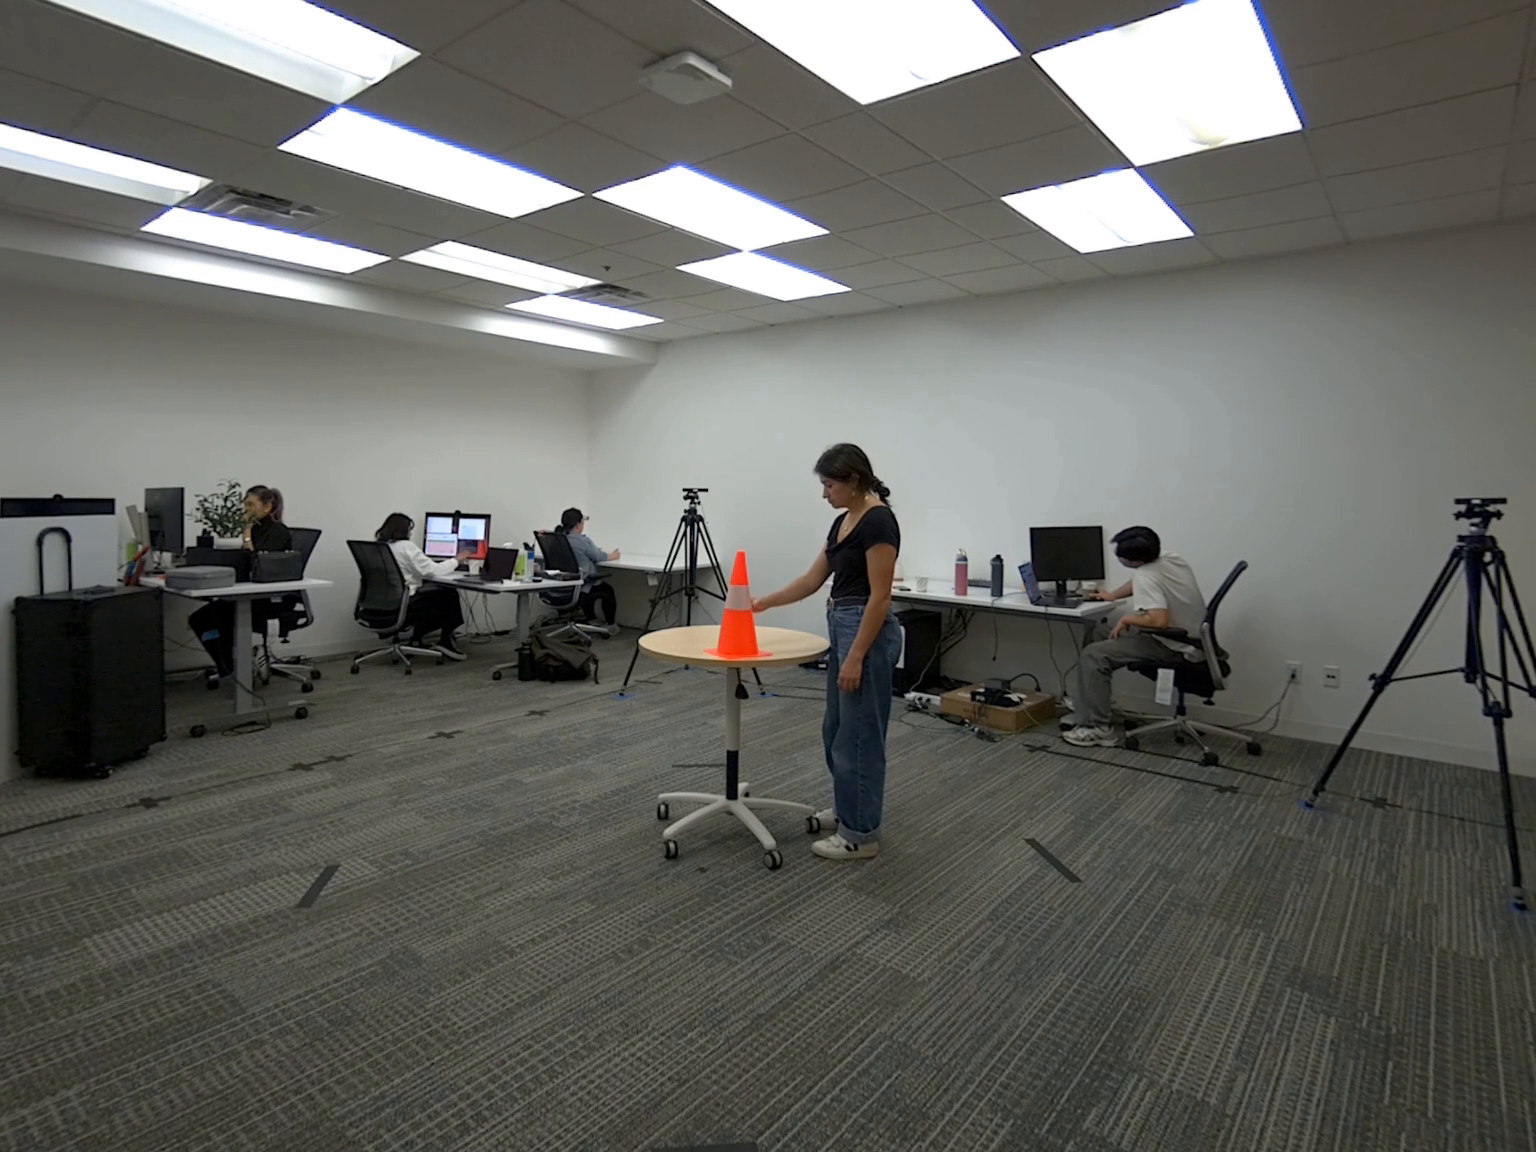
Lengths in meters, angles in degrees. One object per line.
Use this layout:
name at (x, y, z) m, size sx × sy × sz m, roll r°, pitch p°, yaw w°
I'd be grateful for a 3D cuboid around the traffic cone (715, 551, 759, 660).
traffic cone at (-0.103, 0.096, 3.170) m, size 0.199 × 0.382 × 0.210 m, roll 1°, pitch 5°, yaw -31°
